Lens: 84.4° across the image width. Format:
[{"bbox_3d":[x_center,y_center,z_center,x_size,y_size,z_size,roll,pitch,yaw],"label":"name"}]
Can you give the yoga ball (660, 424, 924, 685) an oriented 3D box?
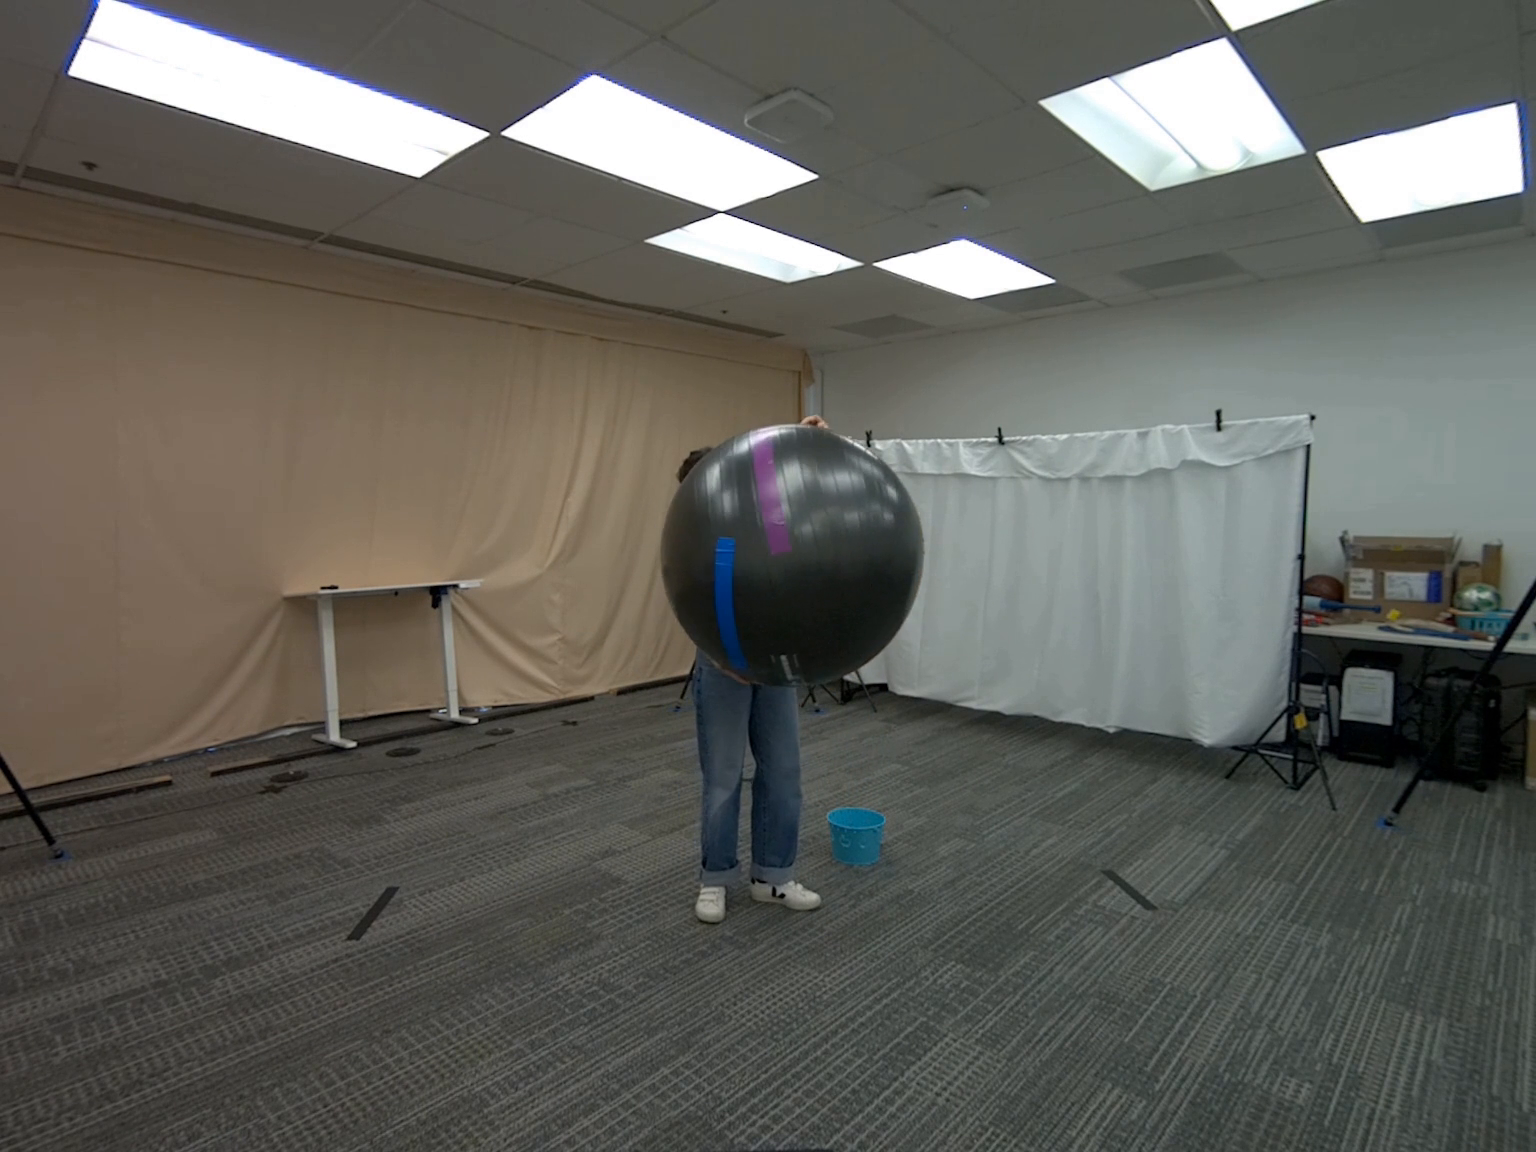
[{"bbox_3d":[0.078,-0.057,2.448,0.757,0.756,0.760,0,4,-2],"label":"yoga ball"}]
